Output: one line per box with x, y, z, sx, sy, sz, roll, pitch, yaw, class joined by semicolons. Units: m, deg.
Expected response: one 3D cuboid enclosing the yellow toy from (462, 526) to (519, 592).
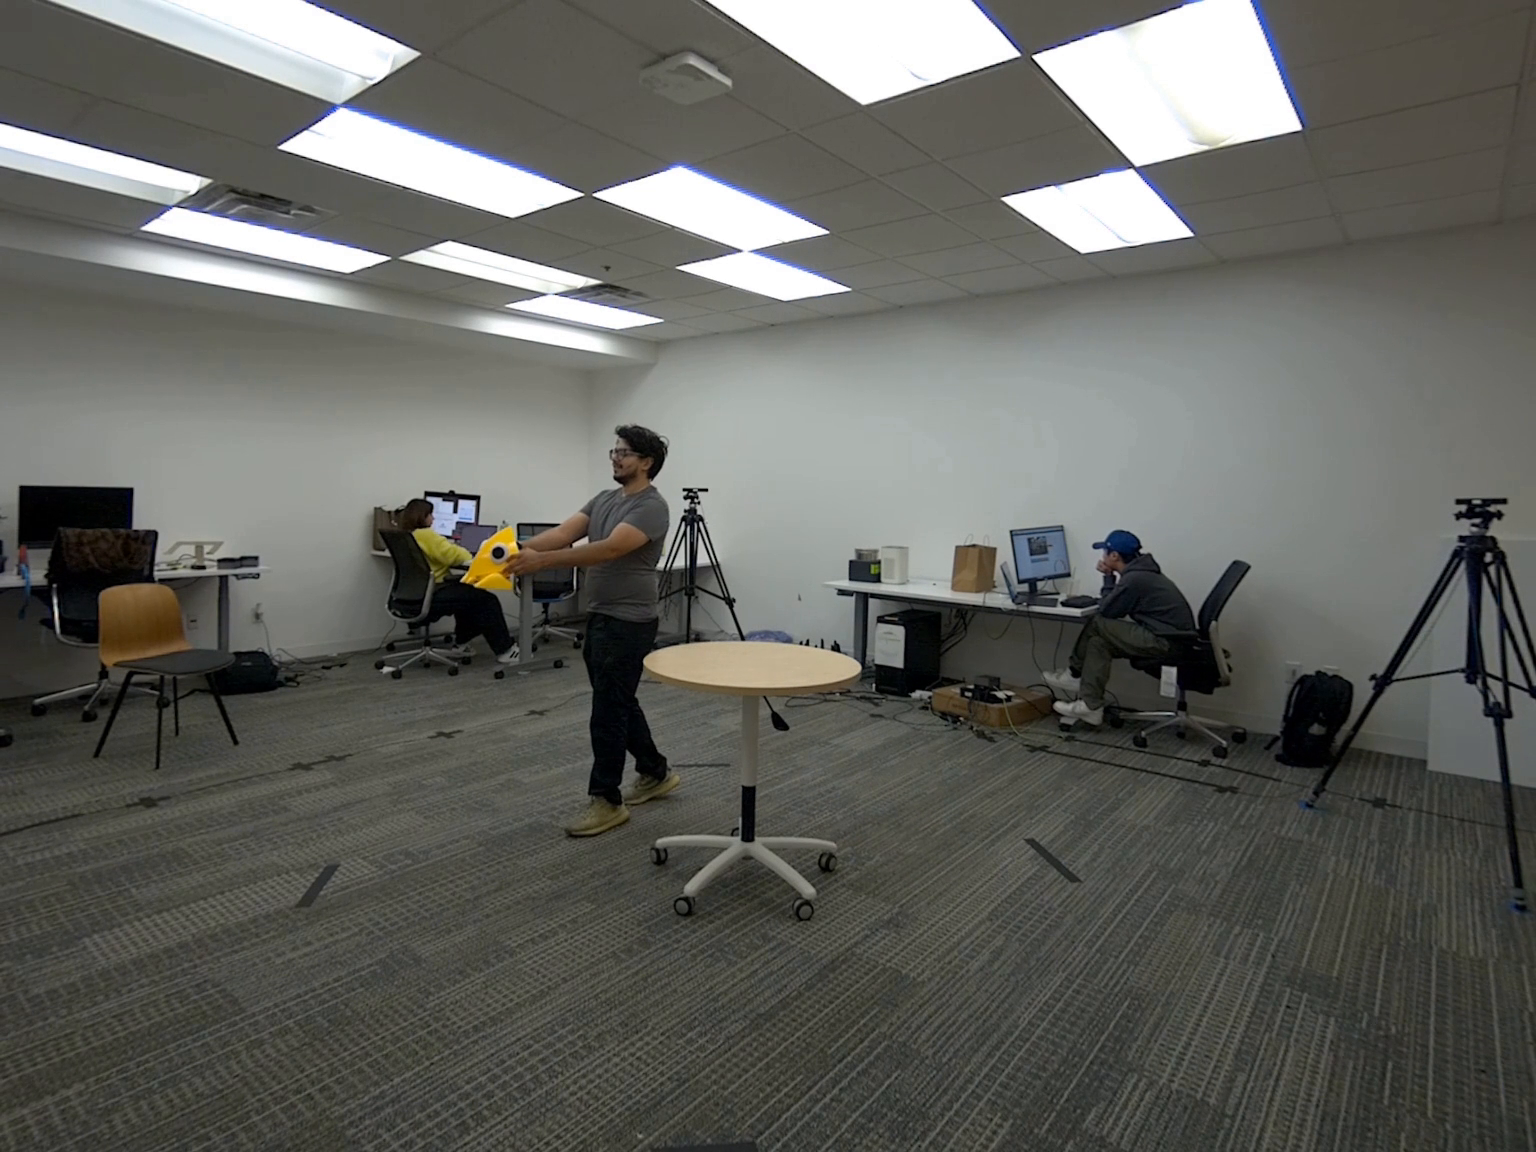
-1.055;-0.081;3.227;0.186;0.230;0.212;5;4;-43;yellow toy
